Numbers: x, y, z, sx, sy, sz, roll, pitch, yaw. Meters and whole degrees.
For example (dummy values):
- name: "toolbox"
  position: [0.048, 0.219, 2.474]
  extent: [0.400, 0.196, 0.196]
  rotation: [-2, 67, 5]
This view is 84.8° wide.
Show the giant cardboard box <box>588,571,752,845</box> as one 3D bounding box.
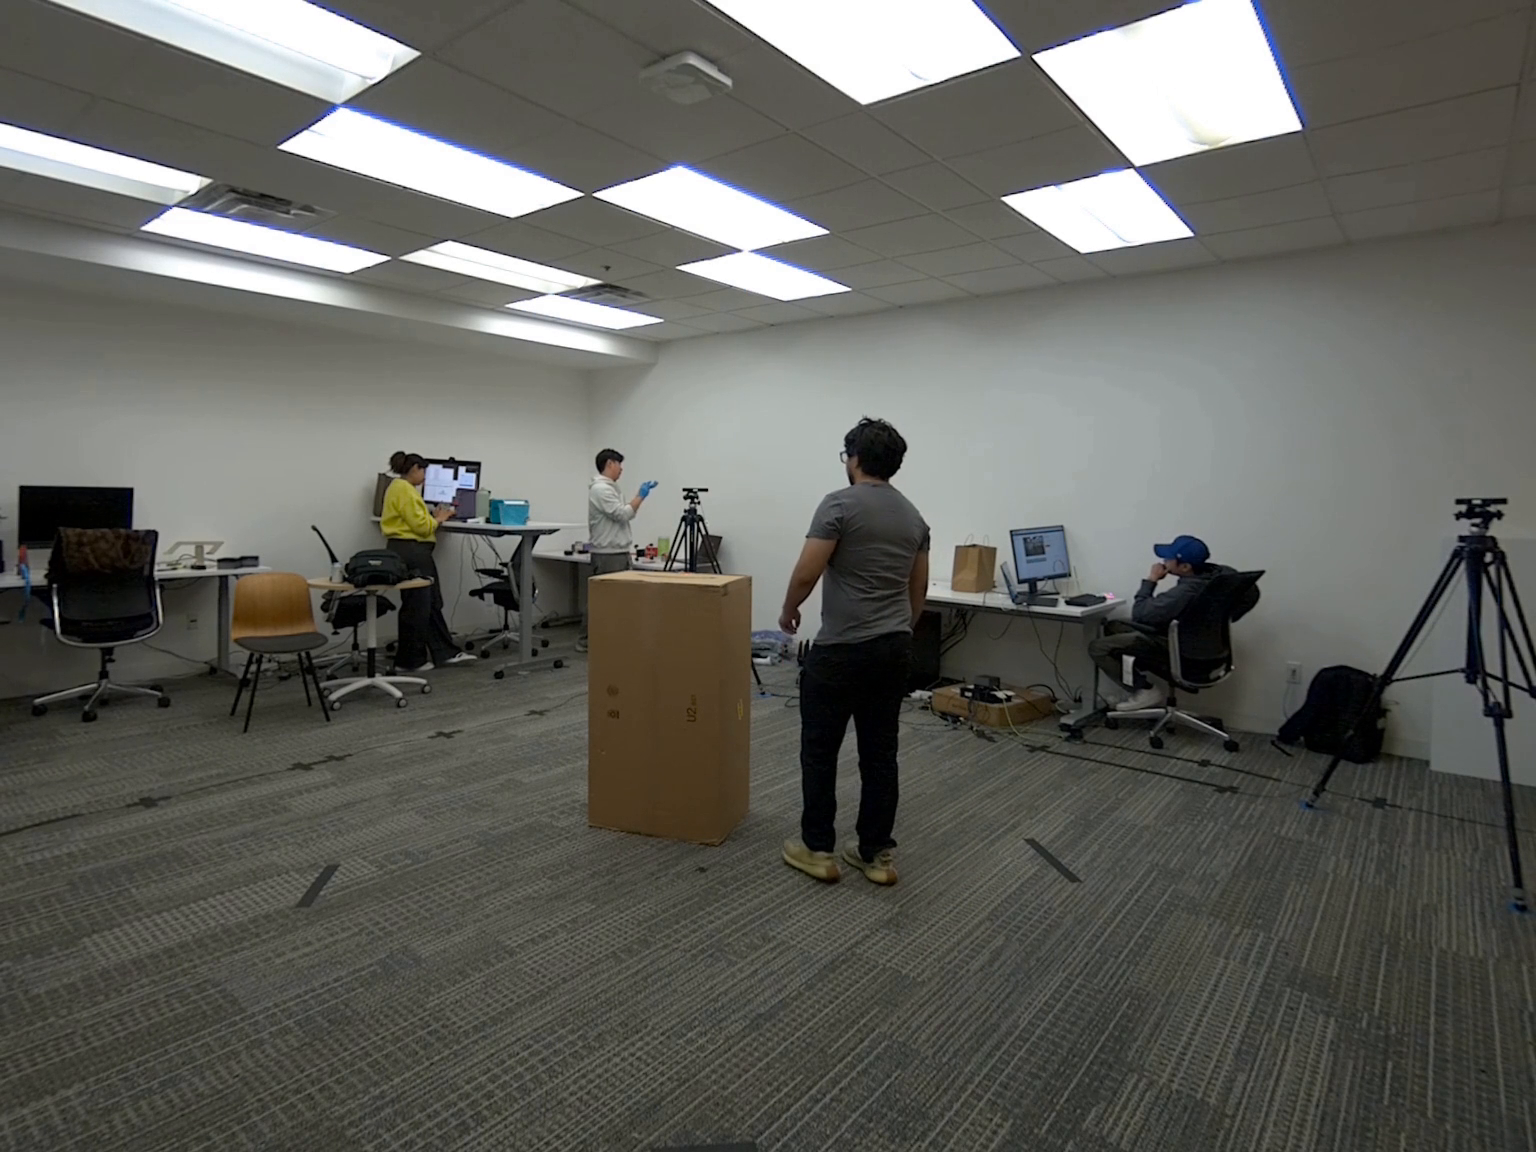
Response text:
- name: "giant cardboard box"
  position: [-0.417, 0.512, 3.582]
  extent: [0.589, 1.023, 0.418]
  rotation: [2, 3, 19]
